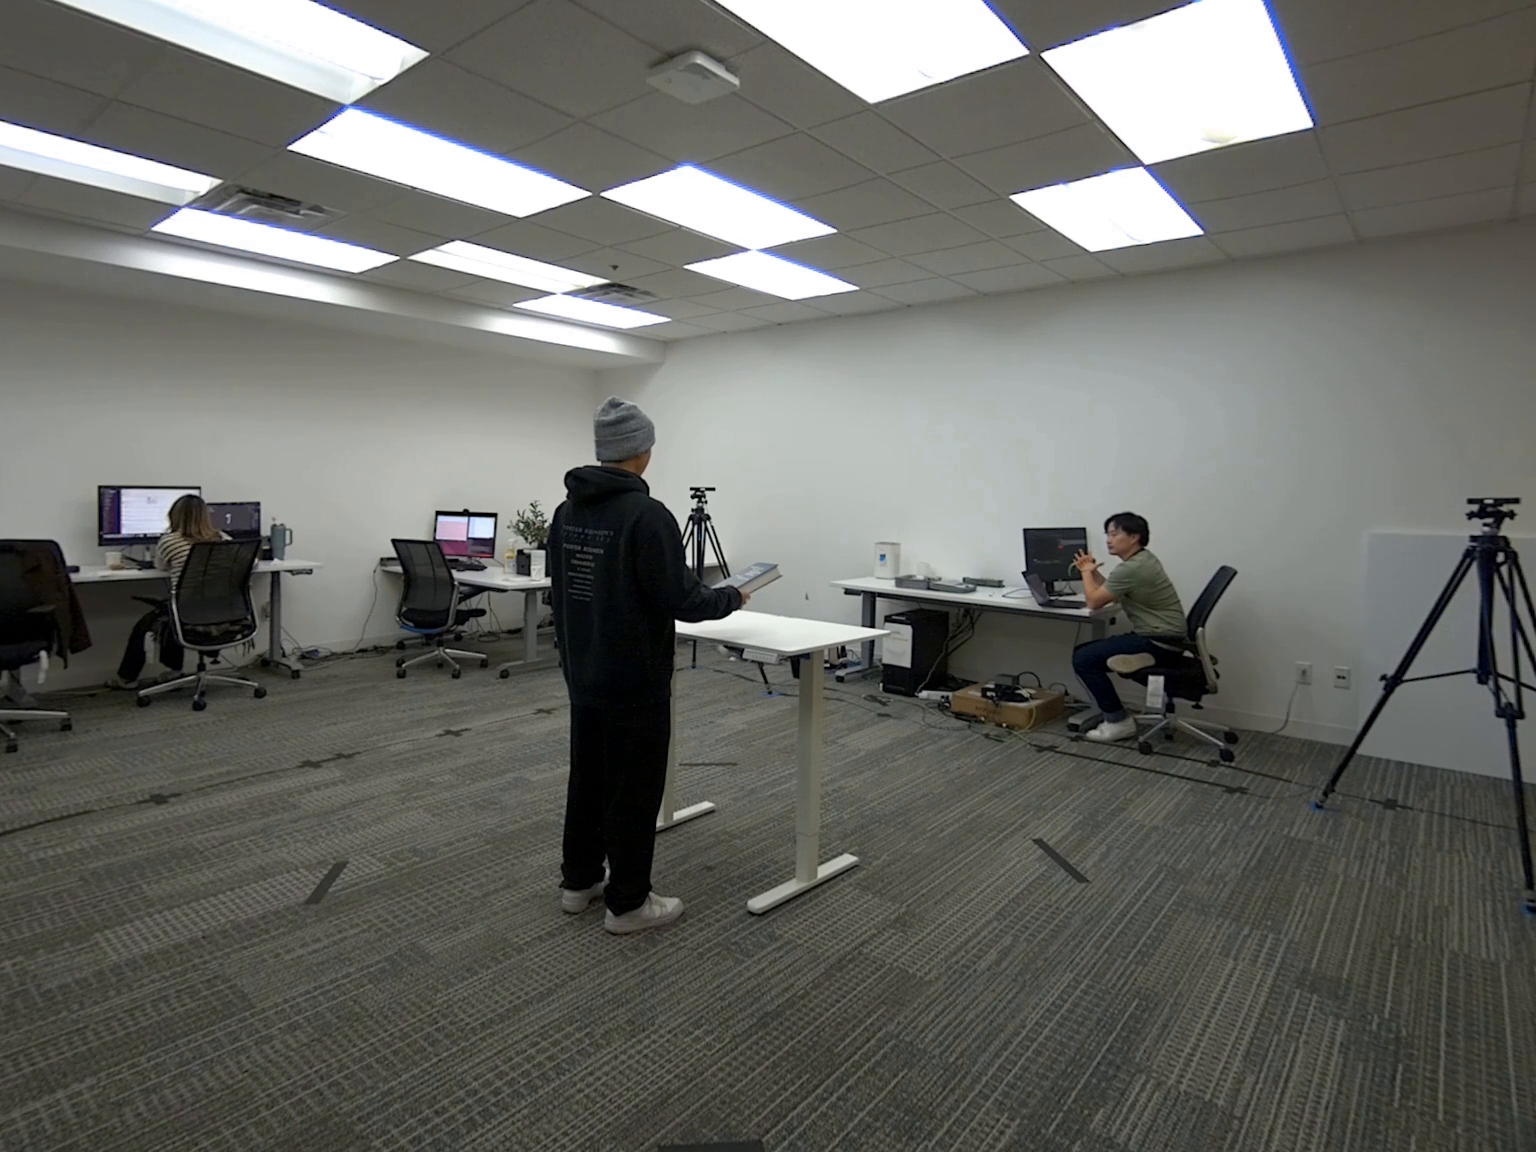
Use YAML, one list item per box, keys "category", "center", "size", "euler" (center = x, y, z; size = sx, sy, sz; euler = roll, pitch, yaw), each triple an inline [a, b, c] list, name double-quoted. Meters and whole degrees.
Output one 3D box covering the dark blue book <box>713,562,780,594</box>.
- category: "dark blue book"
  center: [-0.099, 0.030, 2.900]
  size: [0.242, 0.044, 0.168]
  euler: [-28, 17, -24]
